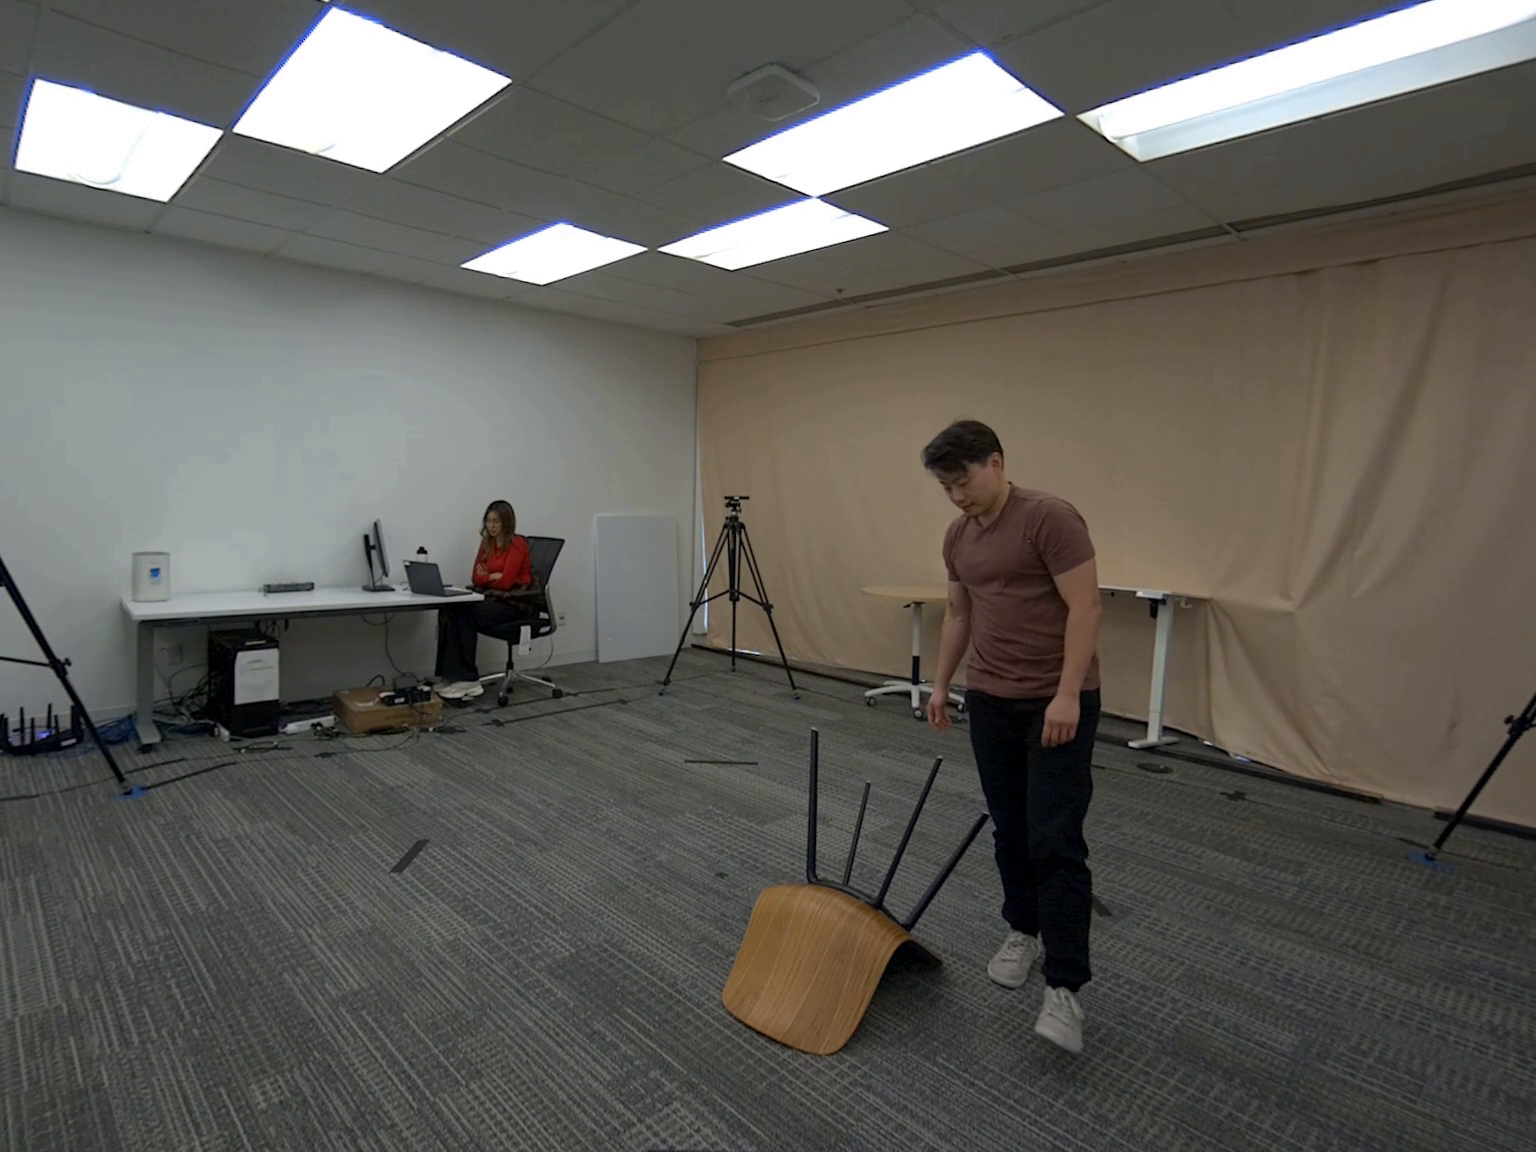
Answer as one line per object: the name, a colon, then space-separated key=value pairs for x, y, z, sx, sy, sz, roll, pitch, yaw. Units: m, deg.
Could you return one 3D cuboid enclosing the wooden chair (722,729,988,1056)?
wooden chair: x=0.270 y=0.996 z=2.539 sx=0.490 sy=0.883 sz=0.507 roll=5 pitch=-34 yaw=37
